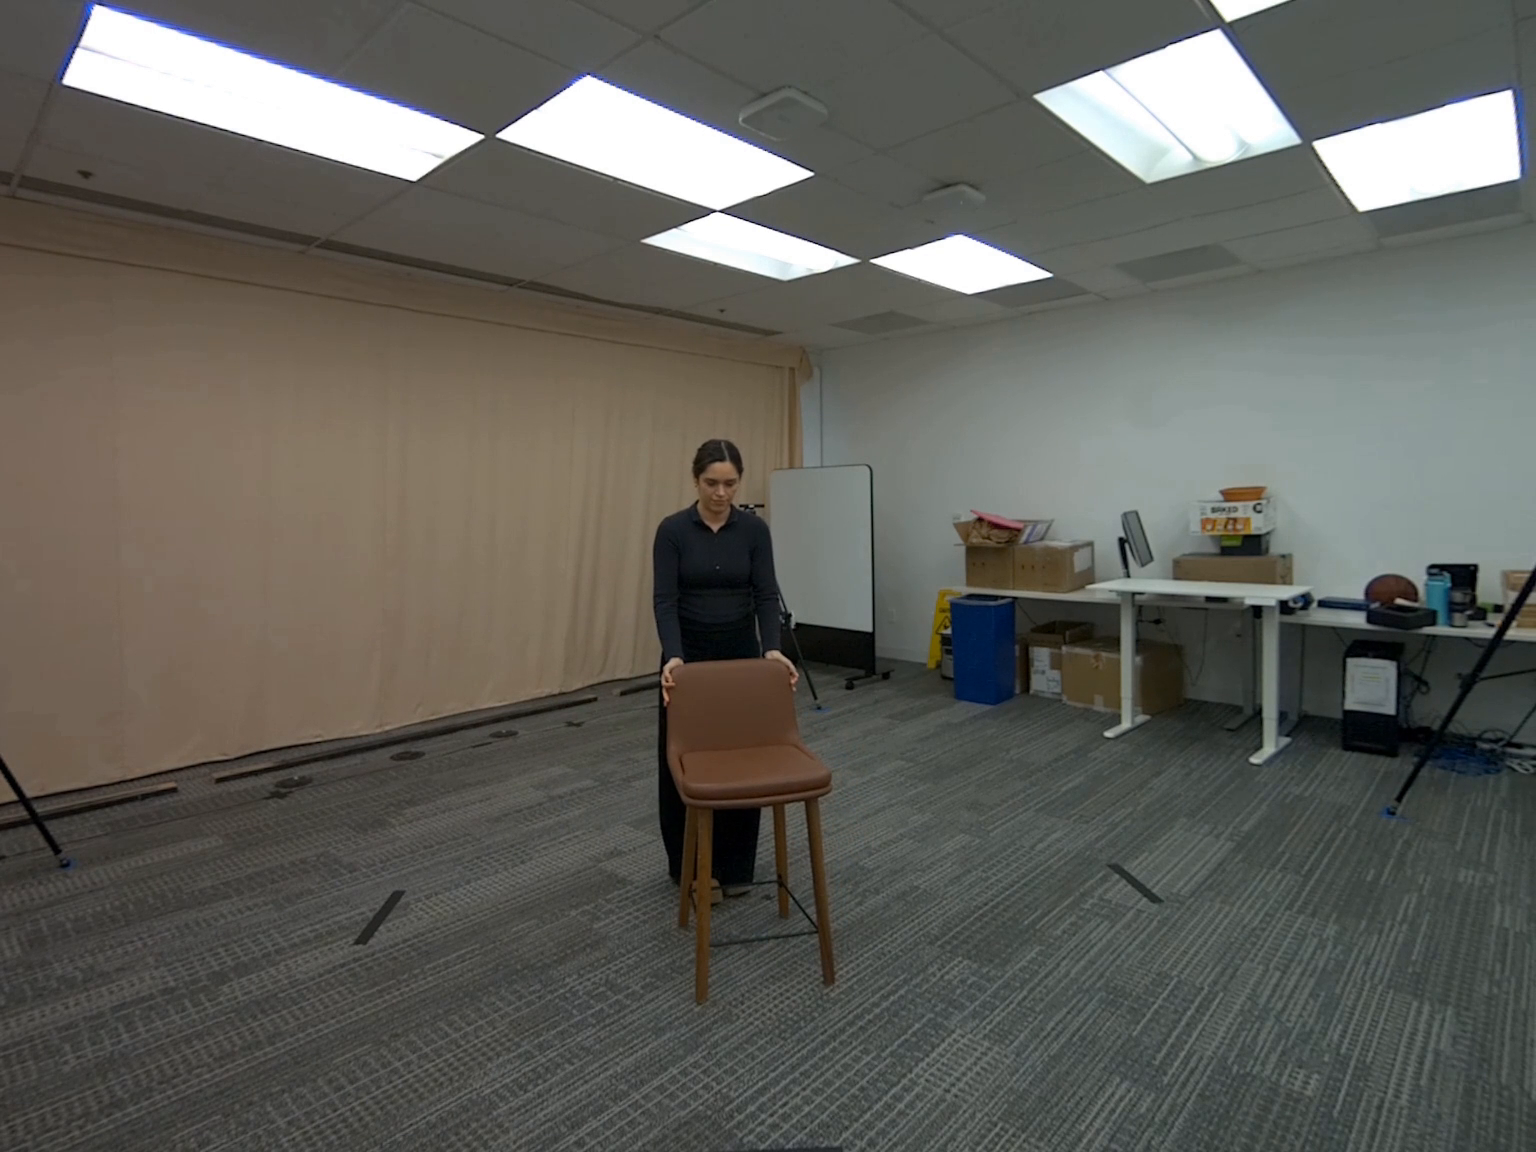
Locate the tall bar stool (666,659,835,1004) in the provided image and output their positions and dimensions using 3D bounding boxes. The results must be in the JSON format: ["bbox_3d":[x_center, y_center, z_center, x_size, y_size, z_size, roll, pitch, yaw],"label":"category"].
[{"bbox_3d":[-0.066,0.734,2.598,0.450,0.889,0.474,-2,1,-13],"label":"tall bar stool"}]
